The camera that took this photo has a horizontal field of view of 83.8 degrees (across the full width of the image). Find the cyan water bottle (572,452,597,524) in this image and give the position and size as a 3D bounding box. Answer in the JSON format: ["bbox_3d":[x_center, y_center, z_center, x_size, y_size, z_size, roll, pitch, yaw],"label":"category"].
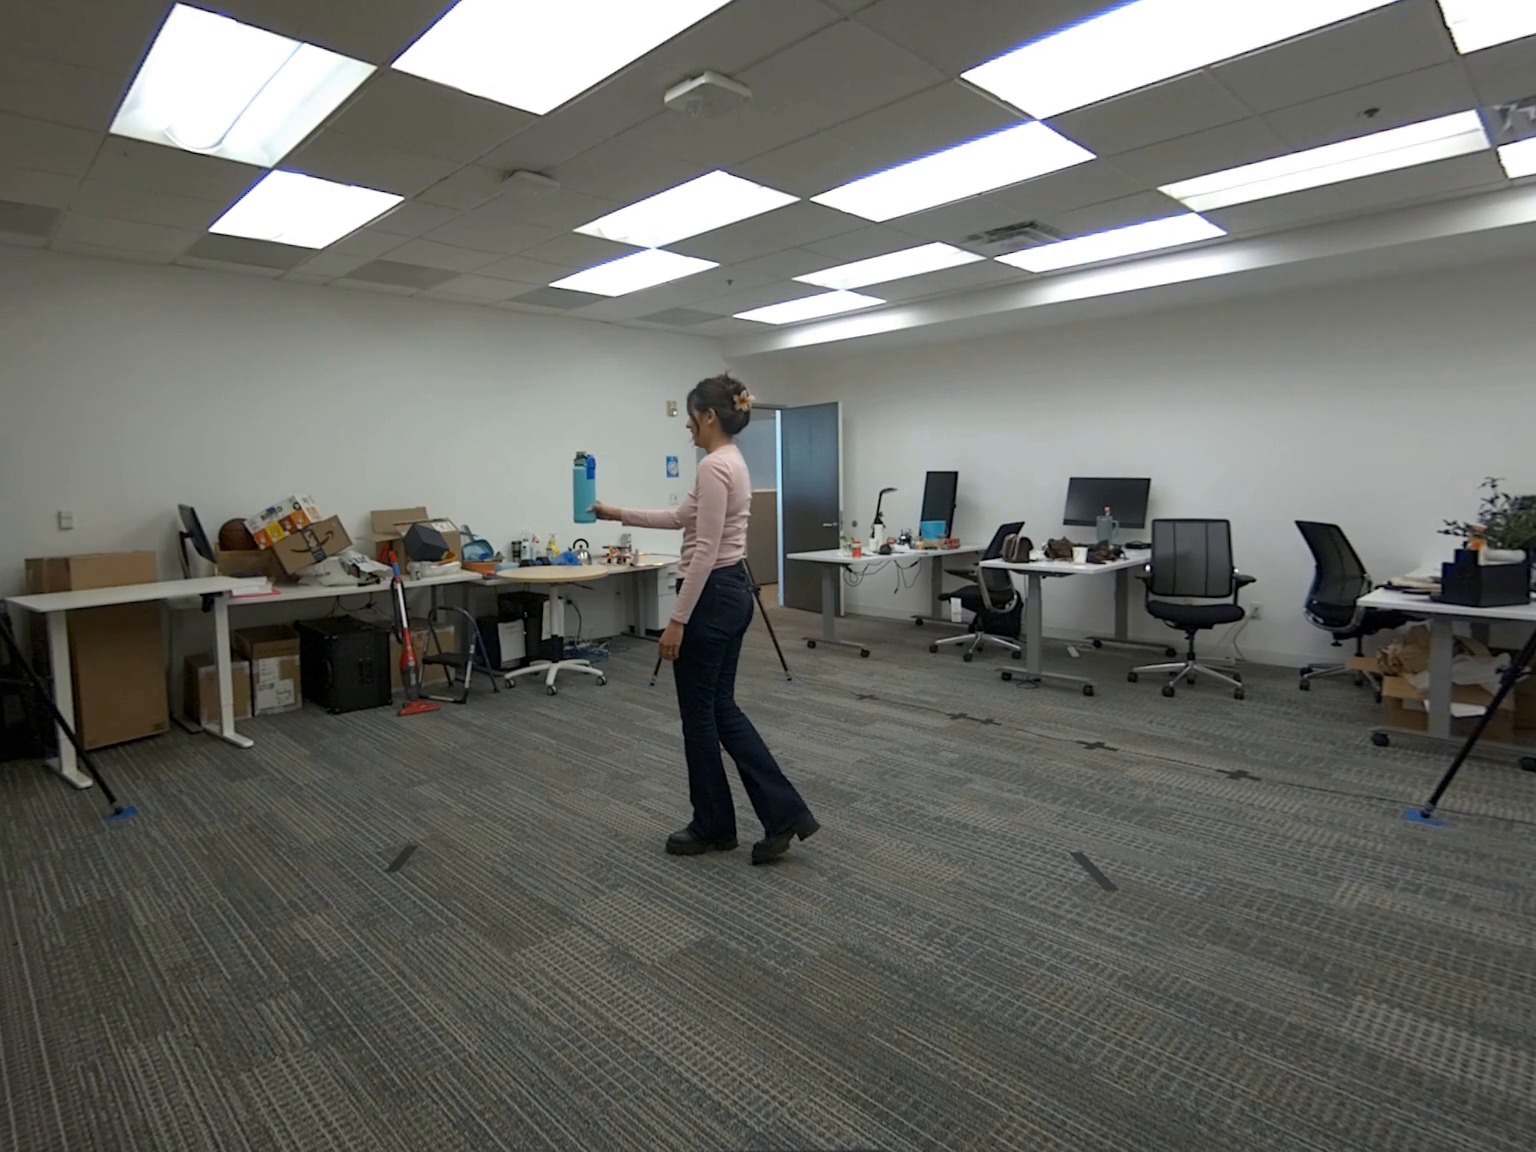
[{"bbox_3d":[-0.728,-0.357,3.401,0.092,0.281,0.093,1,7,-2],"label":"cyan water bottle"}]
